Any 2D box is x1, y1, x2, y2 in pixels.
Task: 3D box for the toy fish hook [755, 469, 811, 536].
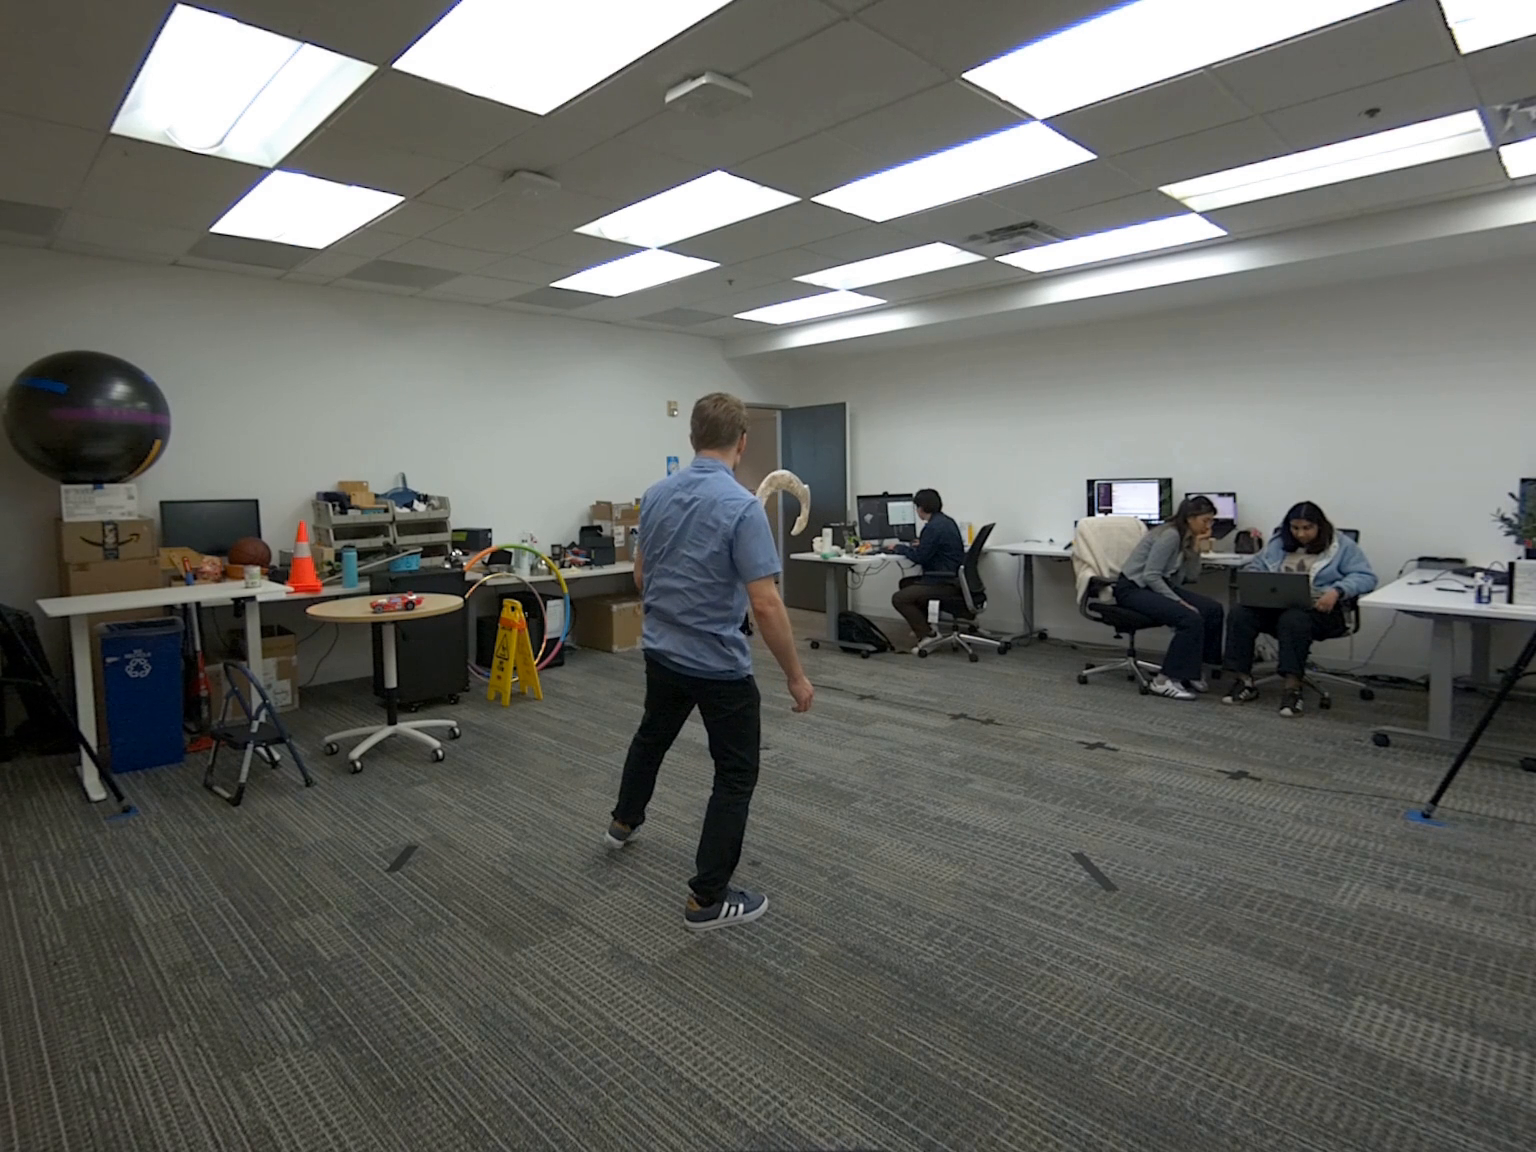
[{"bbox_3d":[-0.004,-0.151,3.046,0.221,0.509,0.049,35,-21,-11],"label":"toy fish hook"}]
